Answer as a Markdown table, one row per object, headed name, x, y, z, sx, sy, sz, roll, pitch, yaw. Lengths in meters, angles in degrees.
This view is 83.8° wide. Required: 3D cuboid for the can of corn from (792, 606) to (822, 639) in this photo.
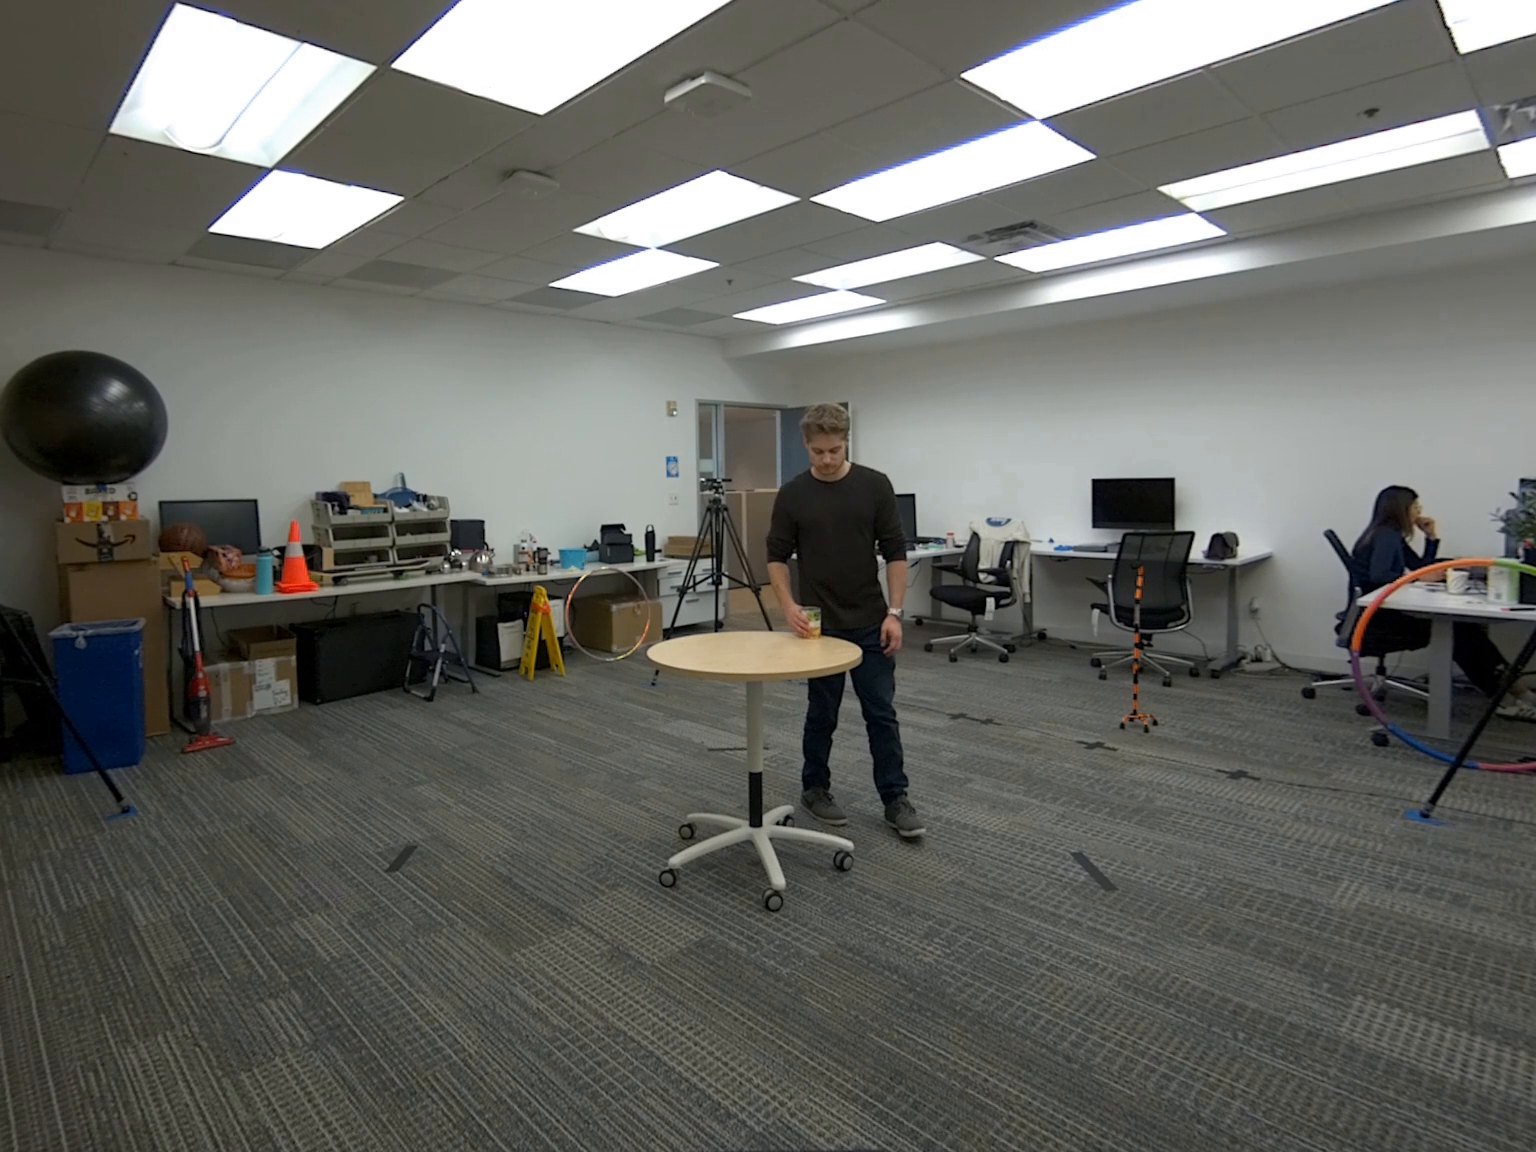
| name | x | y | z | sx | sy | sz | roll | pitch | yaw |
| --- | --- | --- | --- | --- | --- | --- | --- | --- | --- |
| can of corn | 0.156 | 0.183 | 3.293 | 0.074 | 0.110 | 0.074 | -2 | 5 | -1 |
